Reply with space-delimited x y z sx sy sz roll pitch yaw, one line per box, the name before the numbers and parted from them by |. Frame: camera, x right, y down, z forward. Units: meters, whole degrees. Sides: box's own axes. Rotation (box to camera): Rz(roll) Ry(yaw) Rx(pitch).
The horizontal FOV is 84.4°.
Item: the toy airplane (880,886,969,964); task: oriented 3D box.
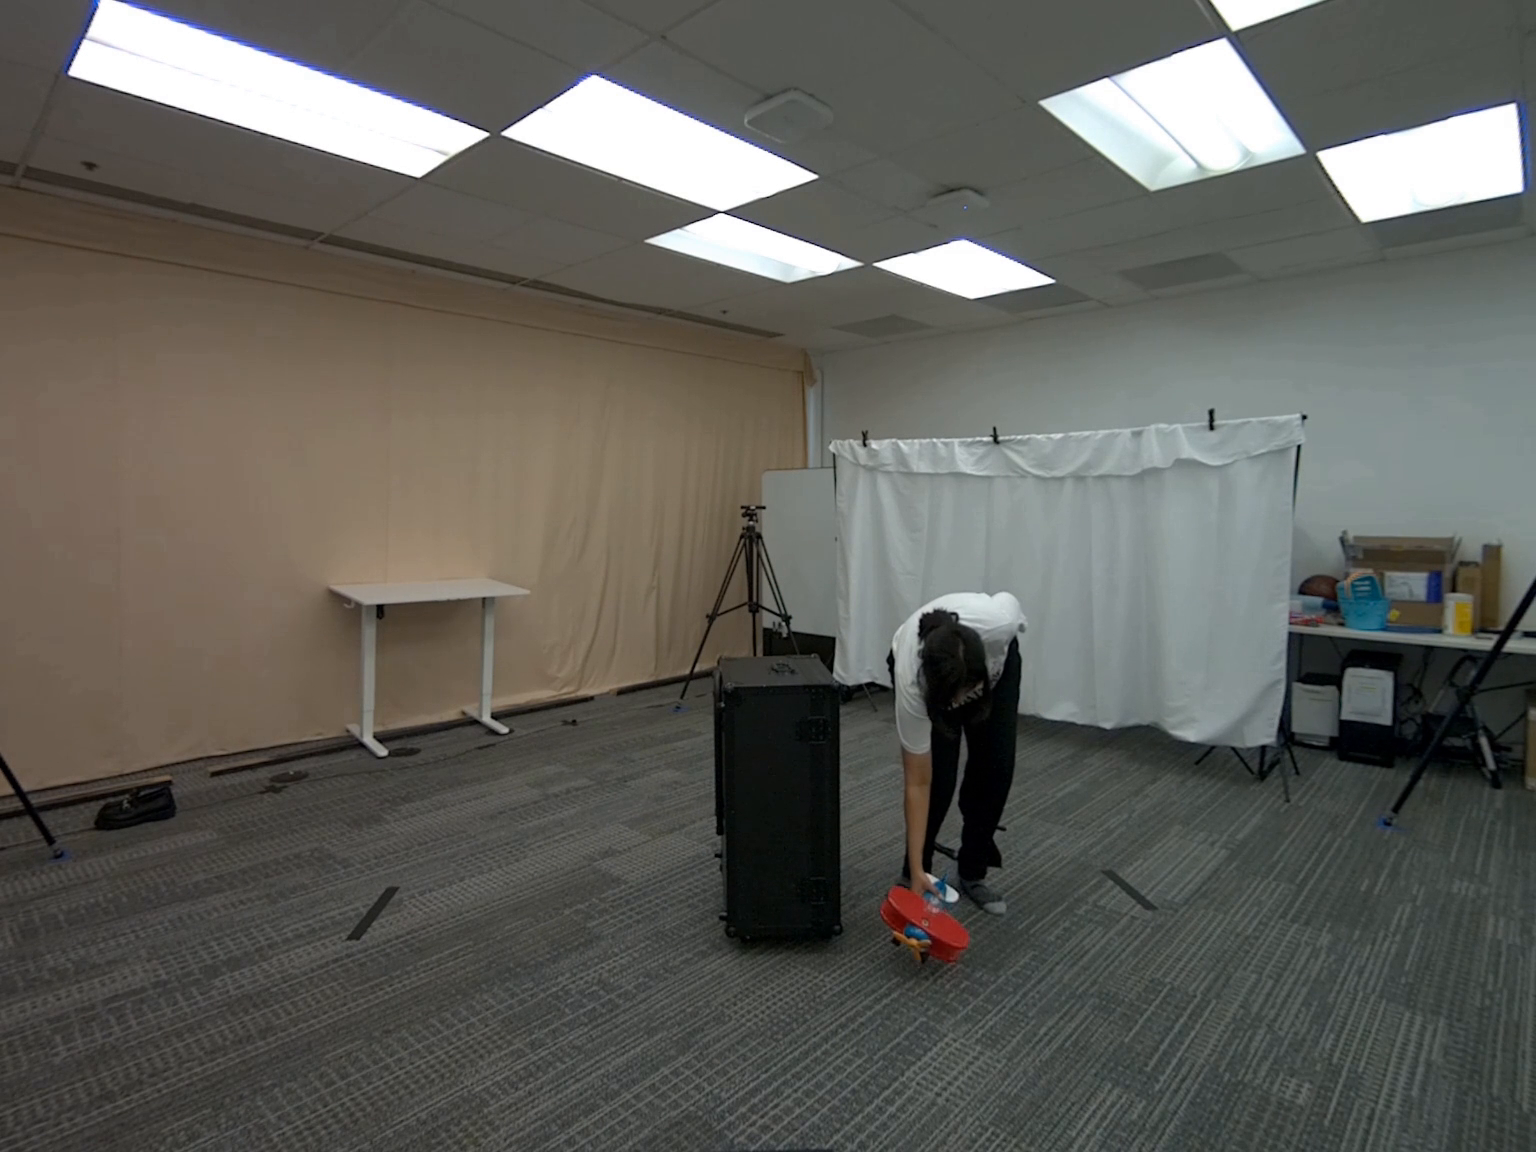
toy airplane | 0.474 1.020 2.539 0.252 0.263 0.154 7 -40 2
